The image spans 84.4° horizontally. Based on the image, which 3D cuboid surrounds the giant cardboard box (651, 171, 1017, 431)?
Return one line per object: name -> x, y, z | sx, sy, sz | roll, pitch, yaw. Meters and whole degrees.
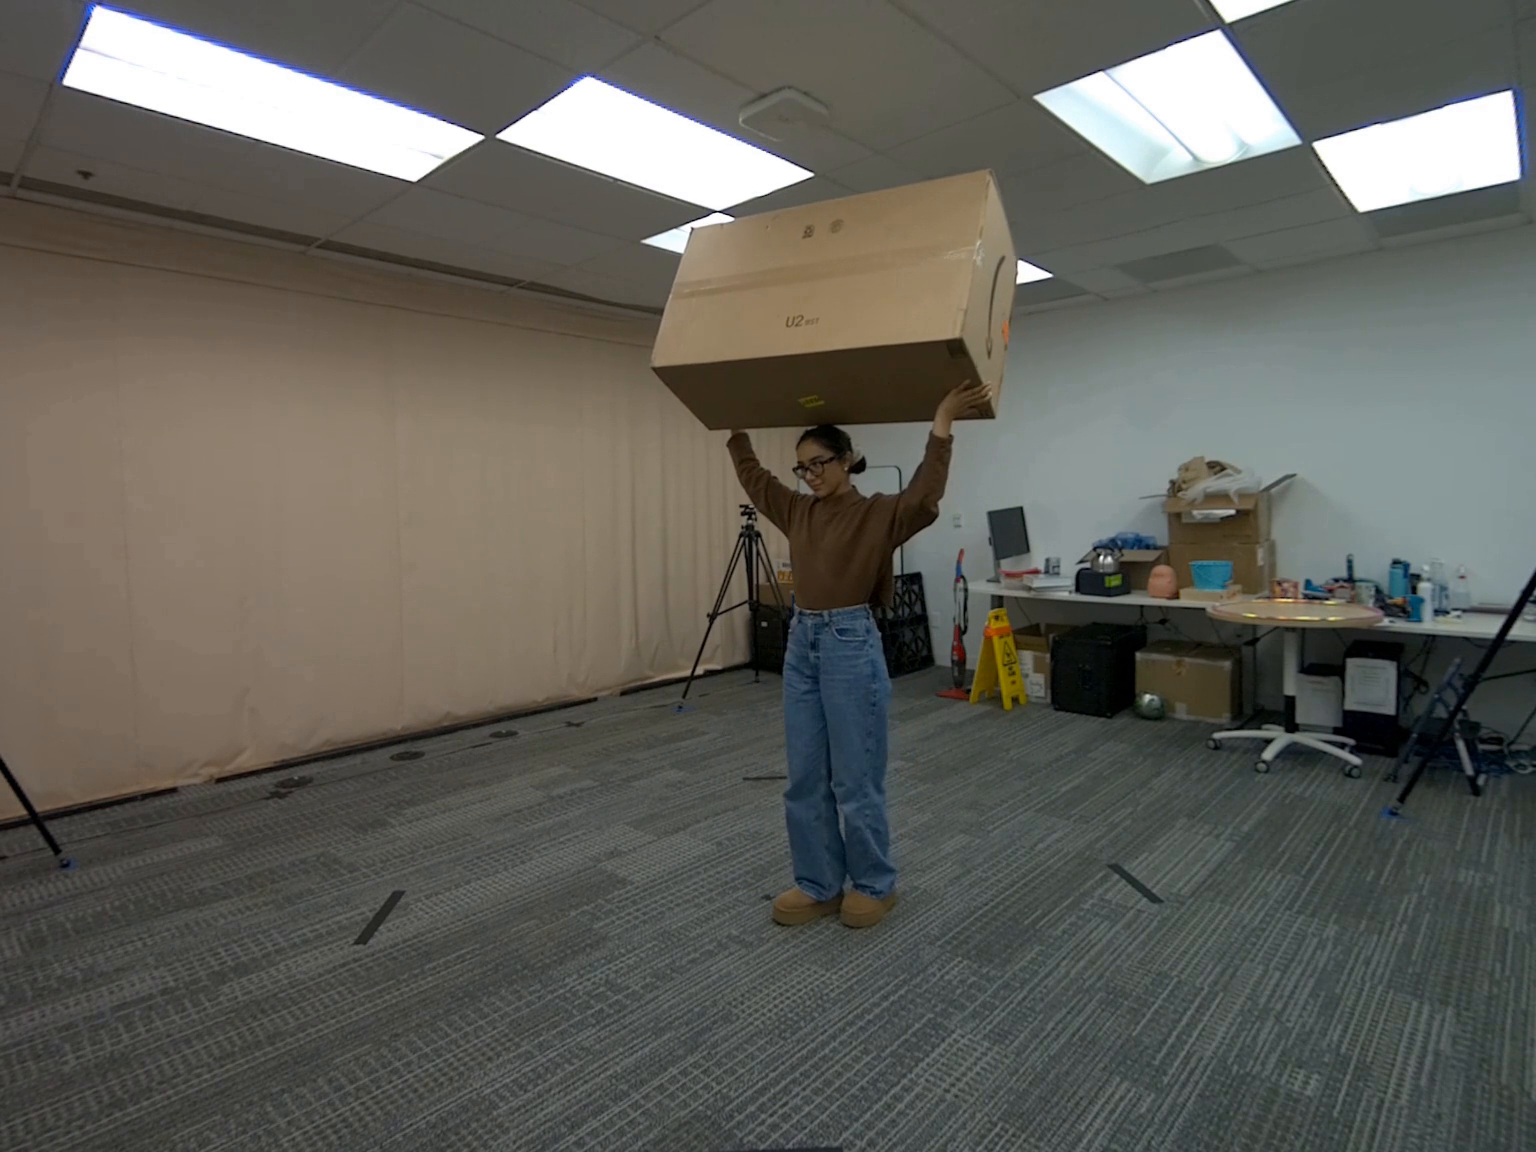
giant cardboard box -> 0.215, -0.837, 2.725 | 1.056, 0.581, 0.411 | 3, -21, 31
